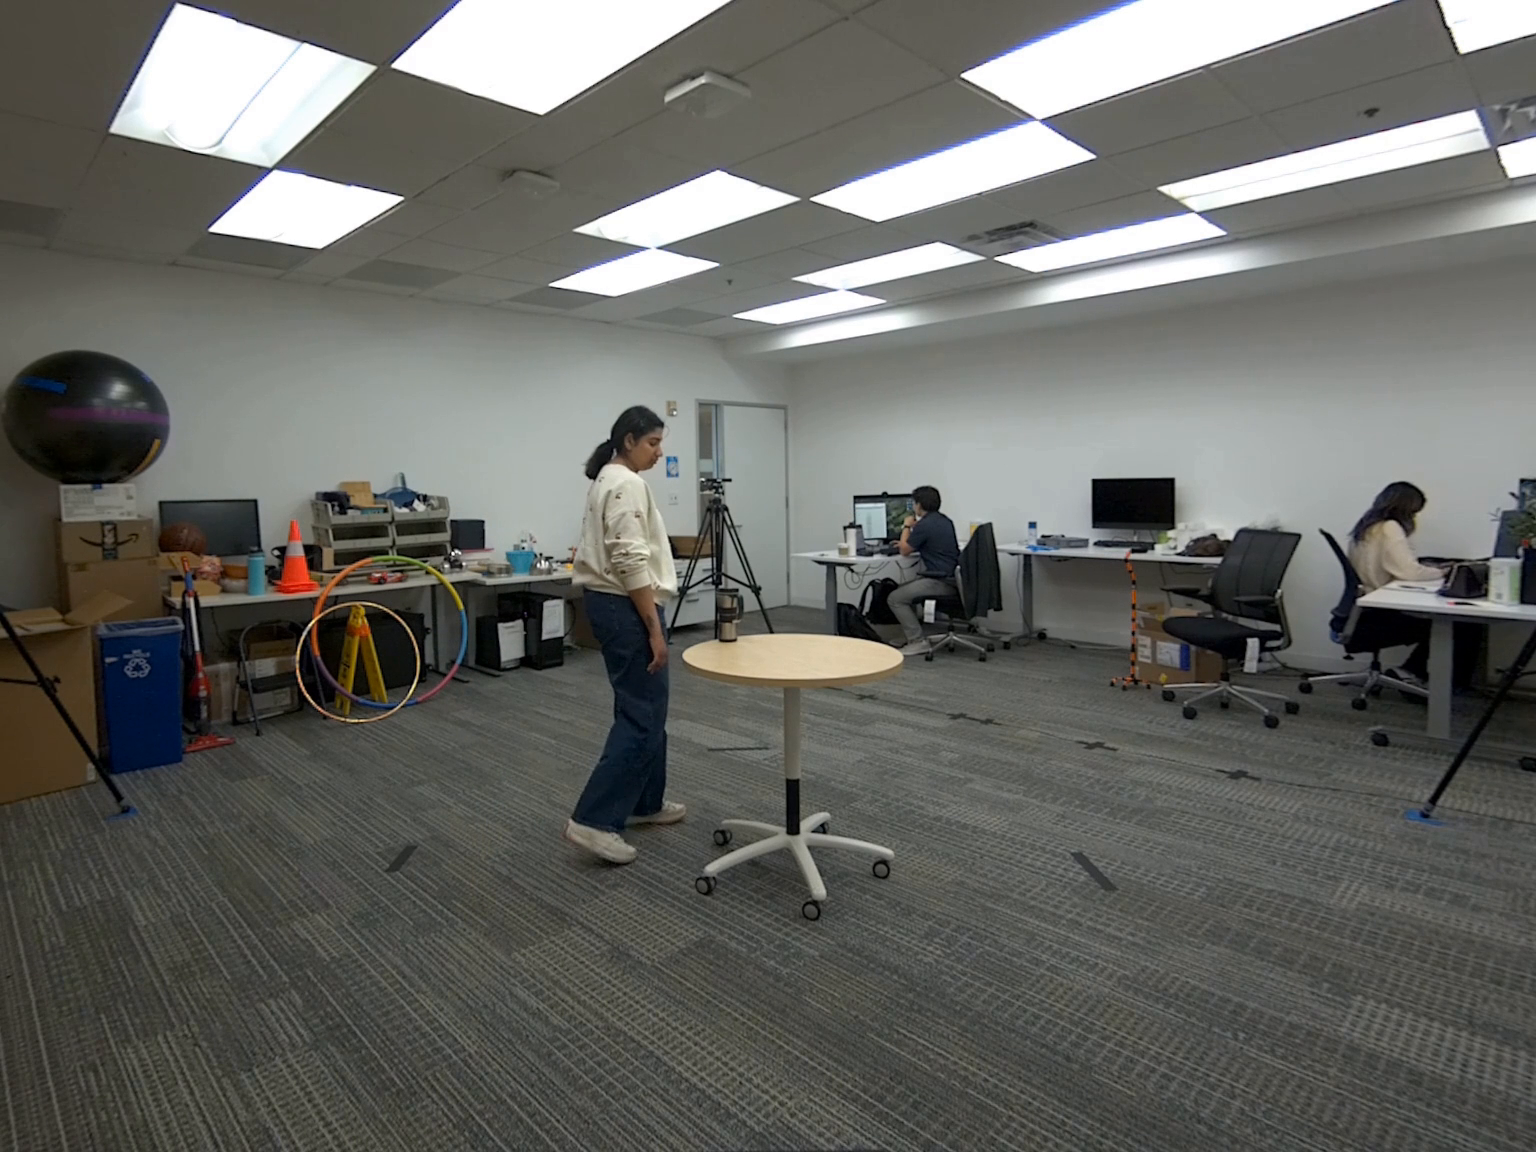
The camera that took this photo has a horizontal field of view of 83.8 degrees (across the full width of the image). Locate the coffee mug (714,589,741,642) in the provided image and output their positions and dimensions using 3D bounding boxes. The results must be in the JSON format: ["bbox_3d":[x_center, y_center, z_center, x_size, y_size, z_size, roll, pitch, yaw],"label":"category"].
[{"bbox_3d":[-0.146,0.146,3.204,0.086,0.203,0.124,0,2,-21],"label":"coffee mug"}]
